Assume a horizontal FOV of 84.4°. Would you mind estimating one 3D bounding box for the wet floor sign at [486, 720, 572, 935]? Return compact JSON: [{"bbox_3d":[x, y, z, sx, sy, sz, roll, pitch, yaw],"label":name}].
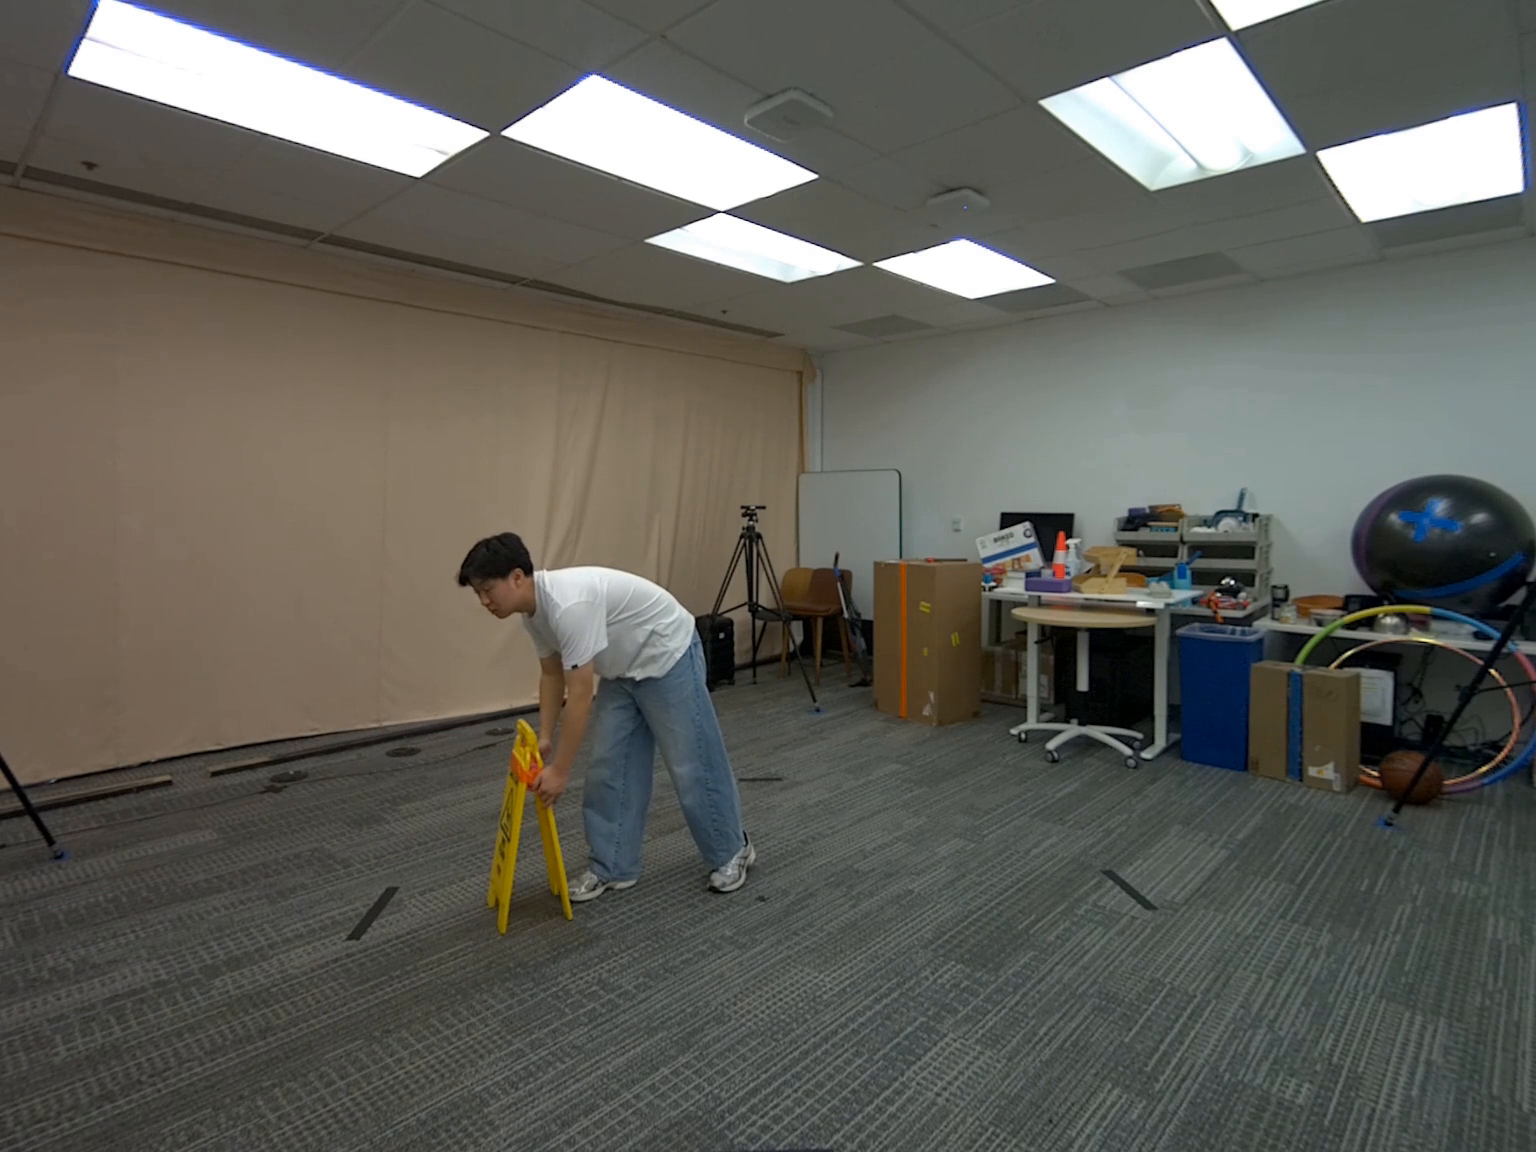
[{"bbox_3d":[-0.834,0.834,2.888,0.283,0.645,0.289,-3,3,-25],"label":"wet floor sign"}]
